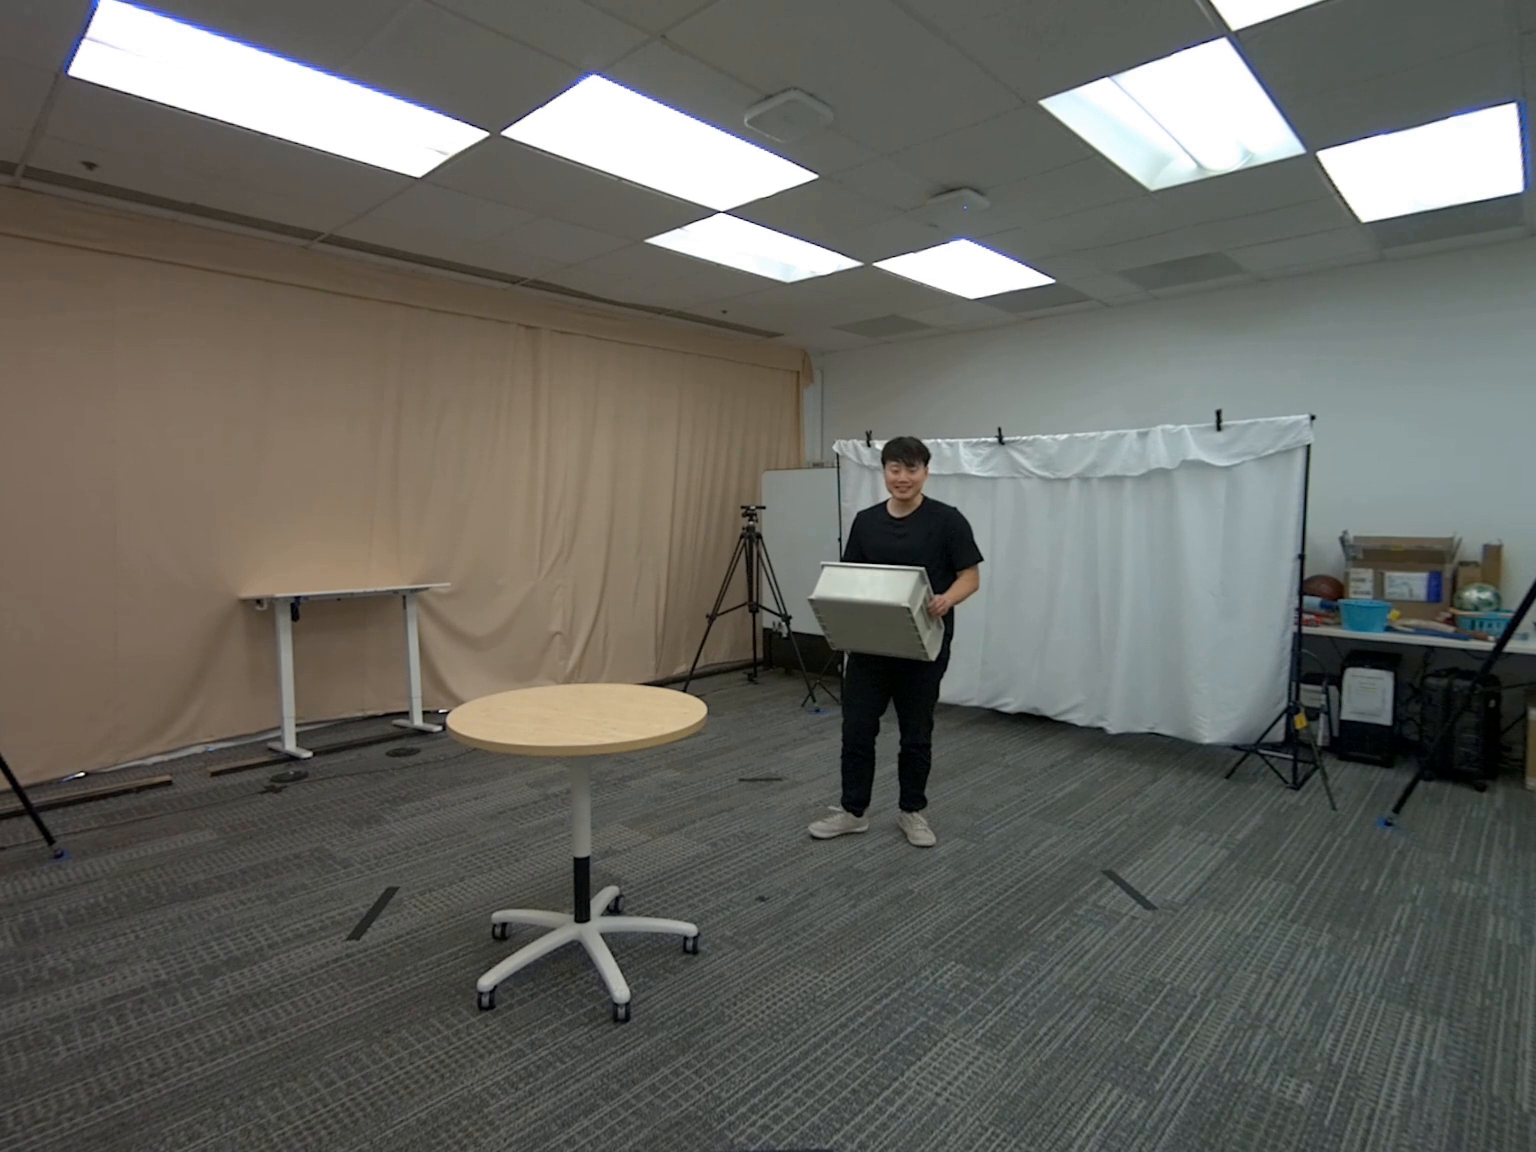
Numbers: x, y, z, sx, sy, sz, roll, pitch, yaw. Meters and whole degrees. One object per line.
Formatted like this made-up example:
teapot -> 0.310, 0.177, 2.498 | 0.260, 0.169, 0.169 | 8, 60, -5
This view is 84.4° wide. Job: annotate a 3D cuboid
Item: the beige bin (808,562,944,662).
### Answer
beige bin -> 0.414, 0.149, 3.247 | 0.435, 0.189, 0.365 | 4, -40, 33
